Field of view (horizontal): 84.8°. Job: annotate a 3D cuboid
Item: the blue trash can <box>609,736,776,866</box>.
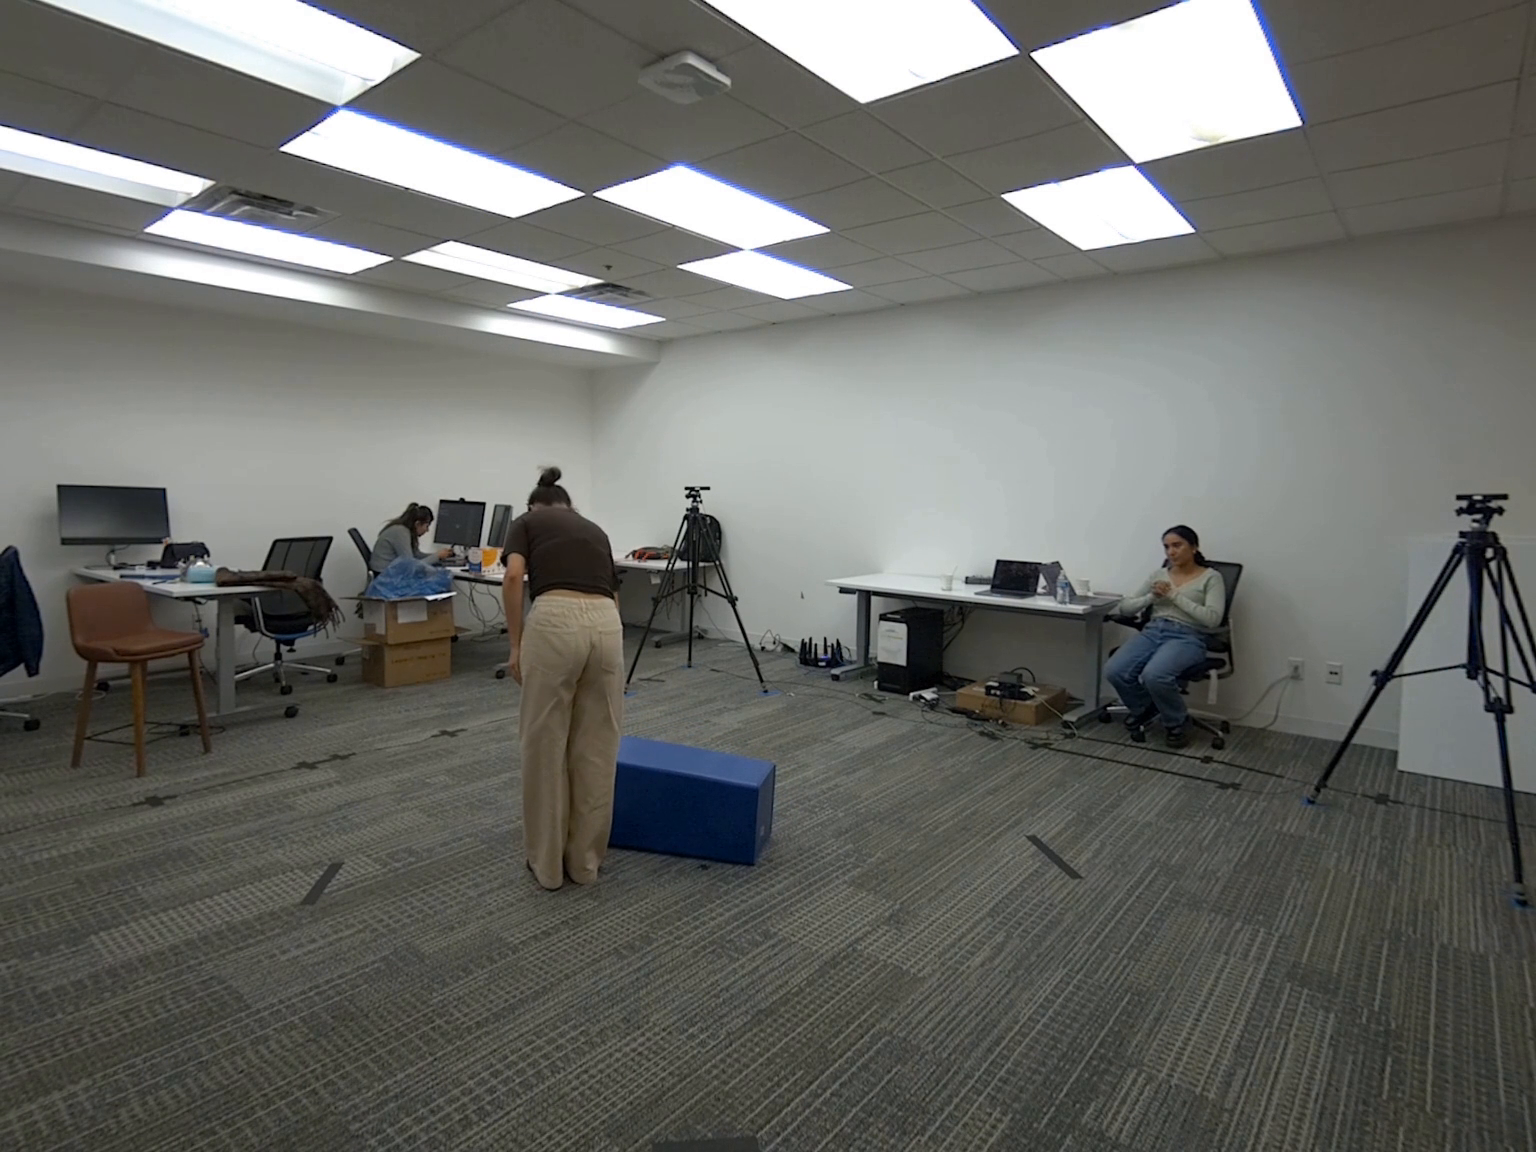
[{"bbox_3d":[-0.365,0.871,3.344,0.727,0.373,0.373,5,5,16],"label":"blue trash can"}]
